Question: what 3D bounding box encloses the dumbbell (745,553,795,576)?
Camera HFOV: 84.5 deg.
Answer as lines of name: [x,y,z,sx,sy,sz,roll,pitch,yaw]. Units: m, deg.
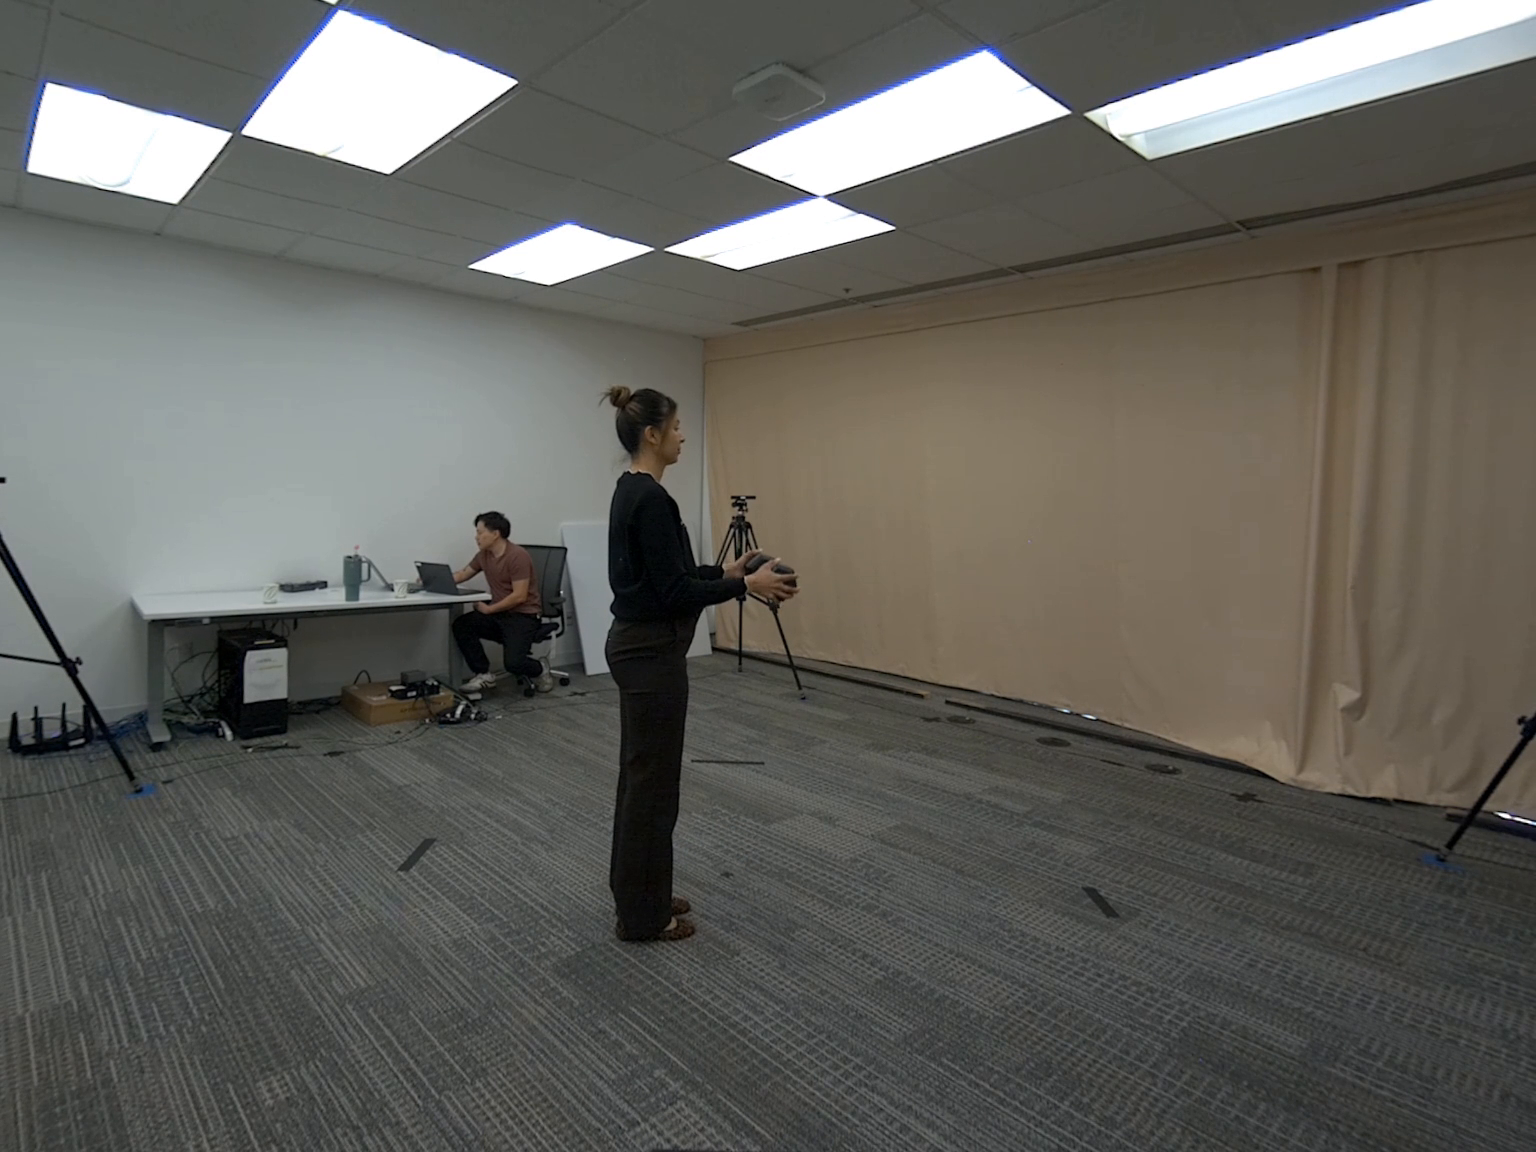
dumbbell: [-0.029,-0.004,2.750,0.122,0.108,0.296,19,5,-7]
